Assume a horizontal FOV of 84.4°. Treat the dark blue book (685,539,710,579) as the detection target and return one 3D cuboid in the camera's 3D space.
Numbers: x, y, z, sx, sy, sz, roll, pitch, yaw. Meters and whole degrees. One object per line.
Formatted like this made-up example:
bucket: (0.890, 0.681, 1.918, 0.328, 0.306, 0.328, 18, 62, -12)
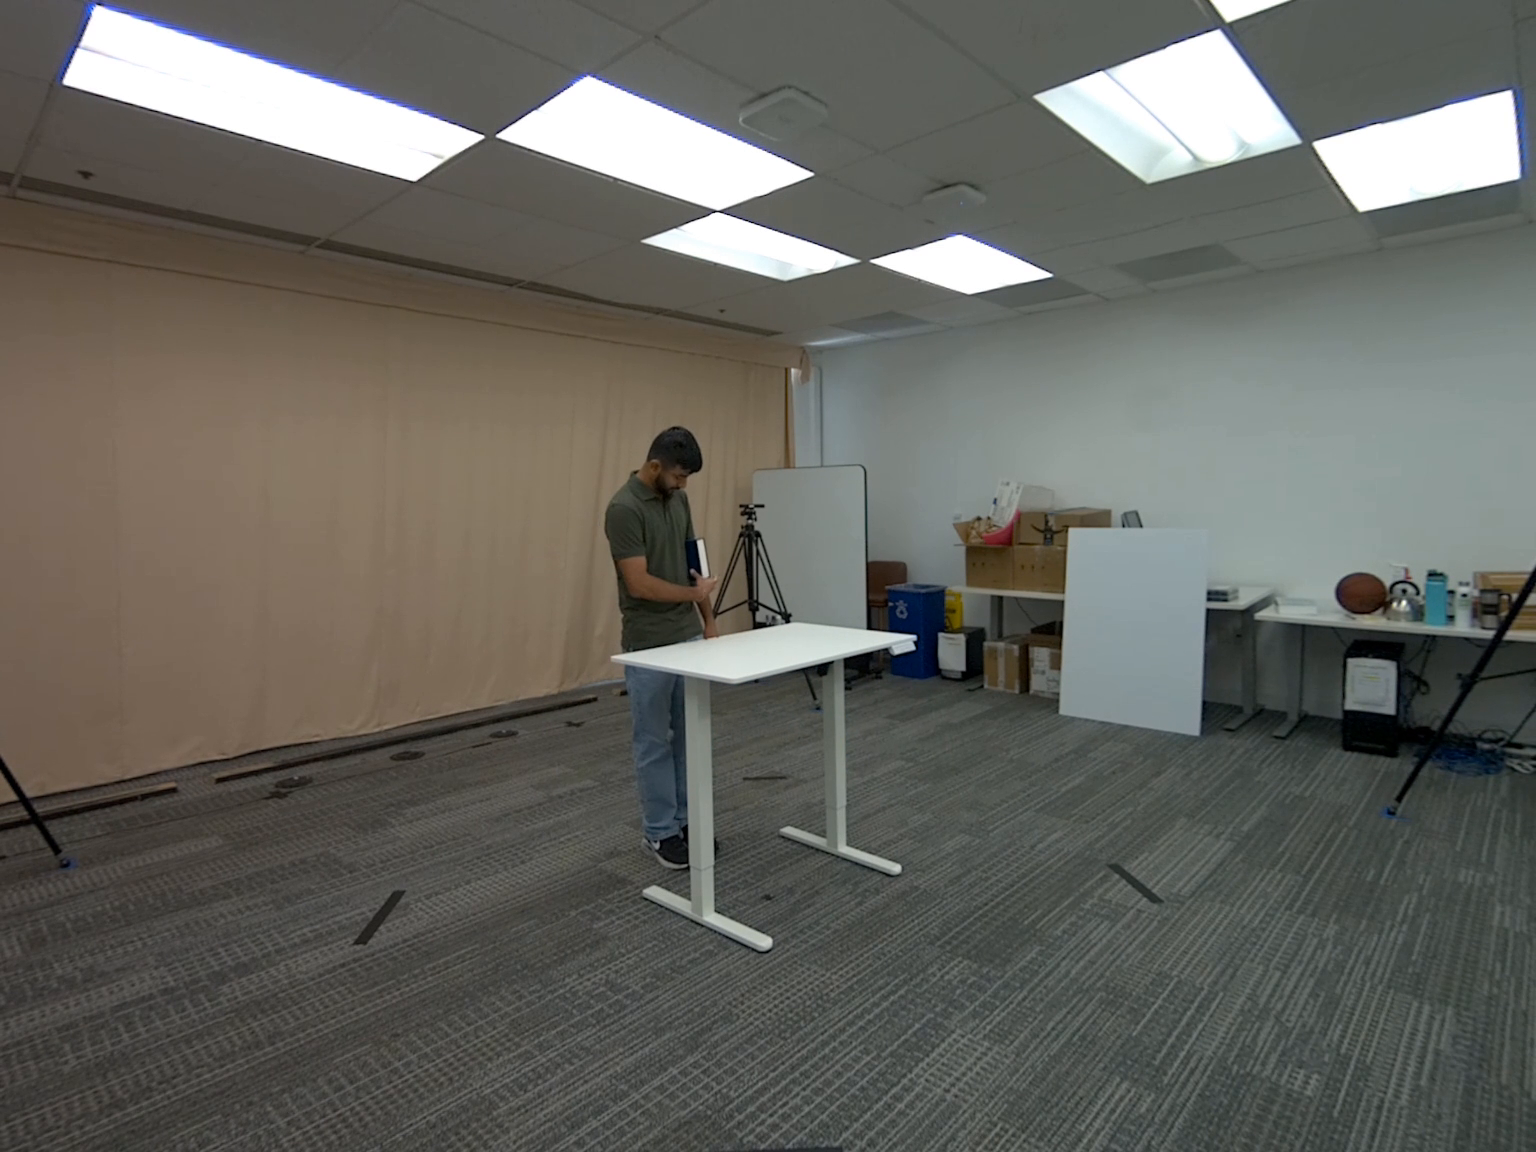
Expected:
dark blue book: (-0.343, -0.061, 3.428, 0.252, 0.163, 0.044, -6, 4, 45)
